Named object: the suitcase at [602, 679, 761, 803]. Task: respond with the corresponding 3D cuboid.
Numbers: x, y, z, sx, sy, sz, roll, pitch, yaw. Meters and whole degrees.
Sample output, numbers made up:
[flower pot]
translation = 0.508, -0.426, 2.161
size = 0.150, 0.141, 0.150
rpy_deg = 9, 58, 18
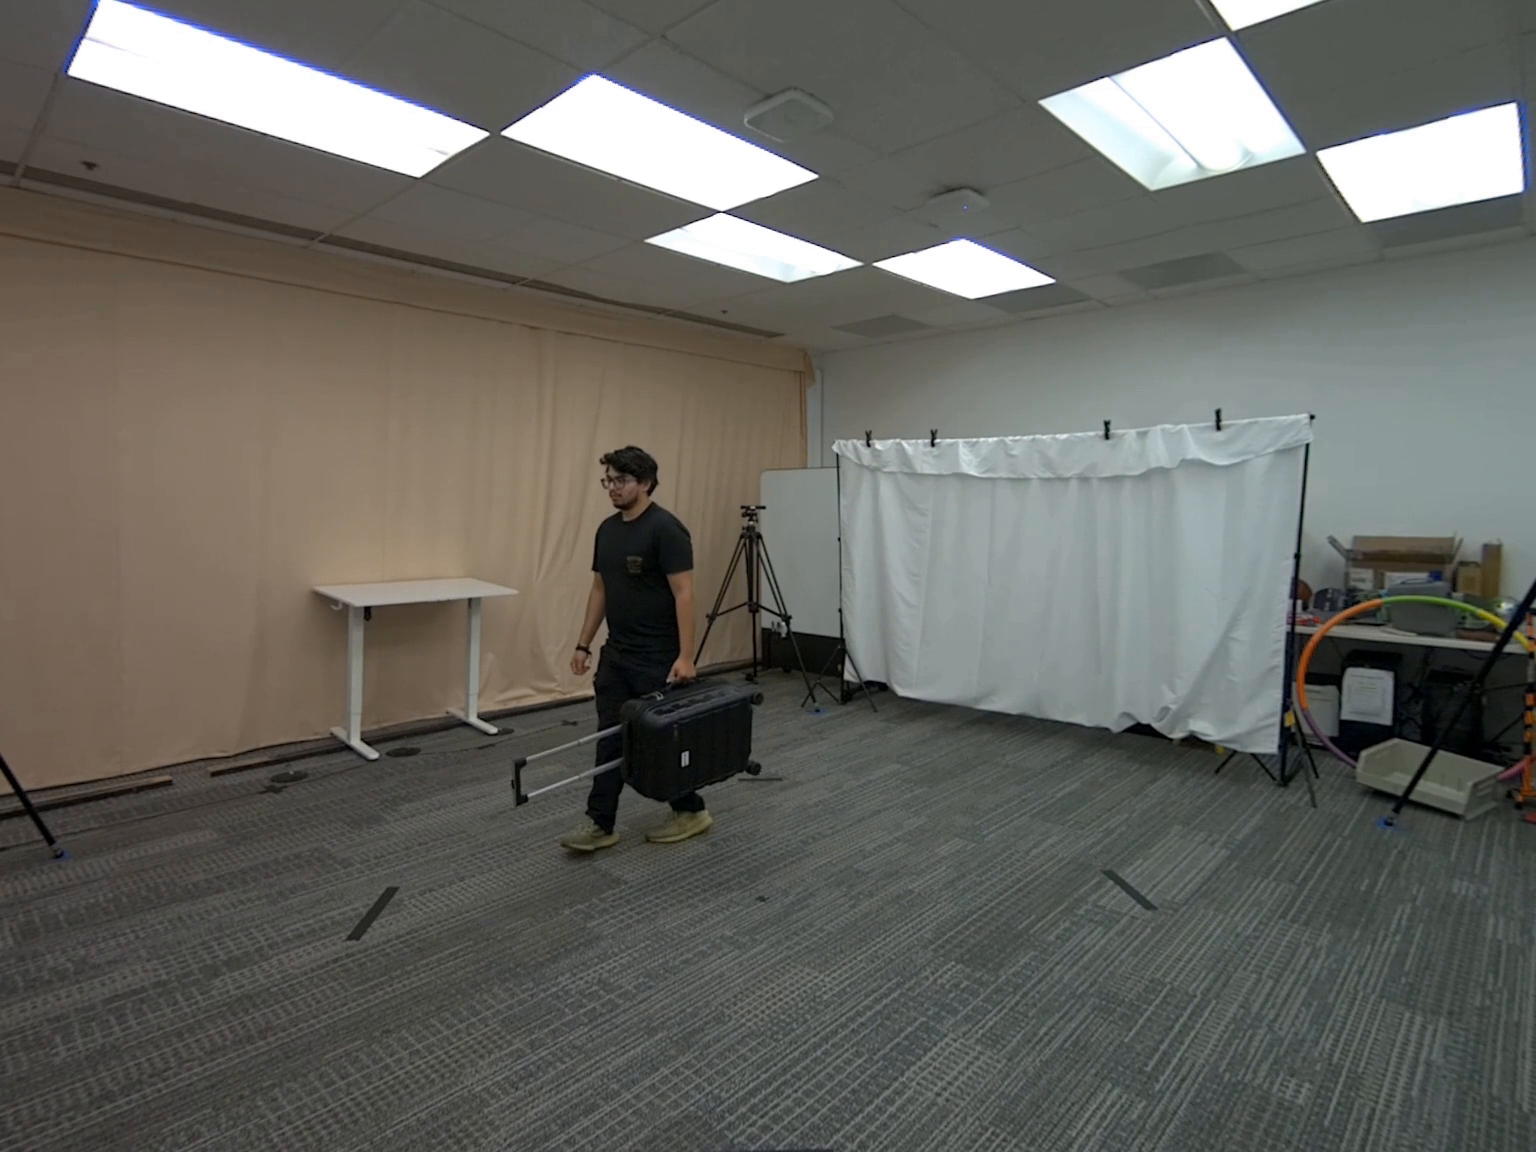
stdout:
[suitcase]
translation = -0.430, 0.638, 3.083
size = 0.266, 0.381, 0.951
rpy_deg = 12, 16, 42
